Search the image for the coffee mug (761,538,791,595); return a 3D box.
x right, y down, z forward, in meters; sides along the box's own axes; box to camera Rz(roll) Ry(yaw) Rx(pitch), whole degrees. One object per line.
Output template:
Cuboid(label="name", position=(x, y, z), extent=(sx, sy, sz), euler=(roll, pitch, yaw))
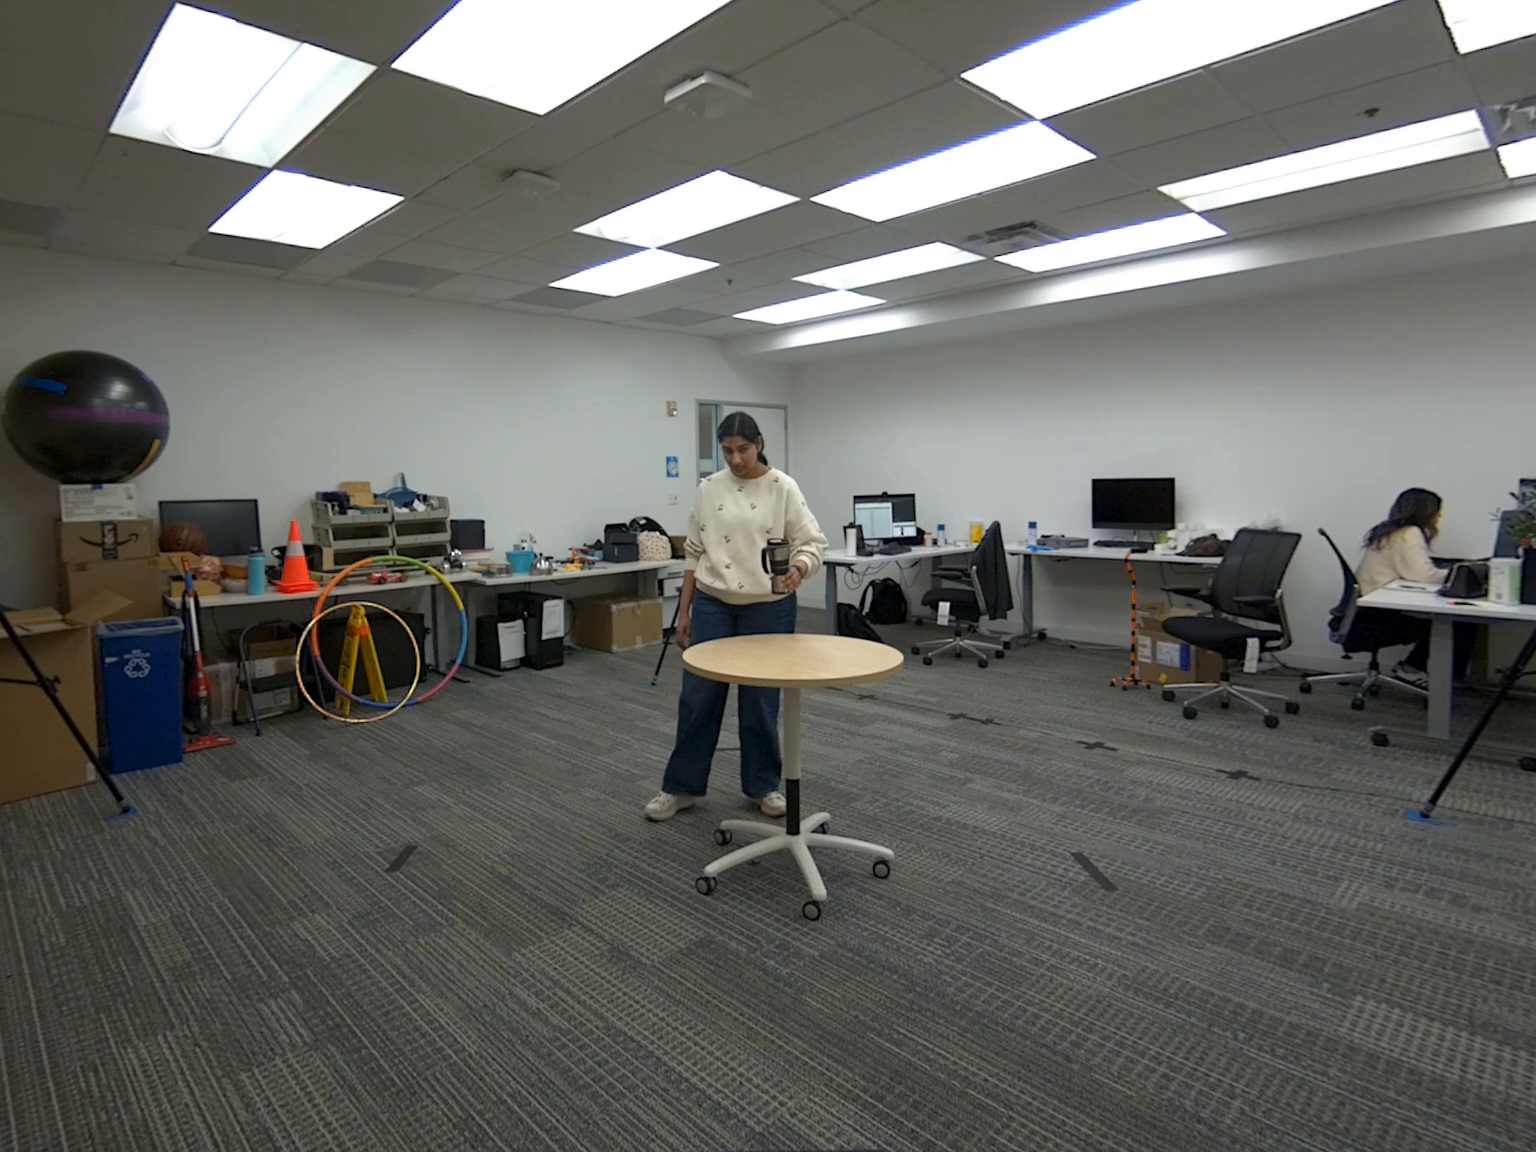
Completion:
Cuboid(label="coffee mug", position=(0.012, -0.030, 3.199), extent=(0.120, 0.201, 0.090), euler=(-3, 12, -15))
